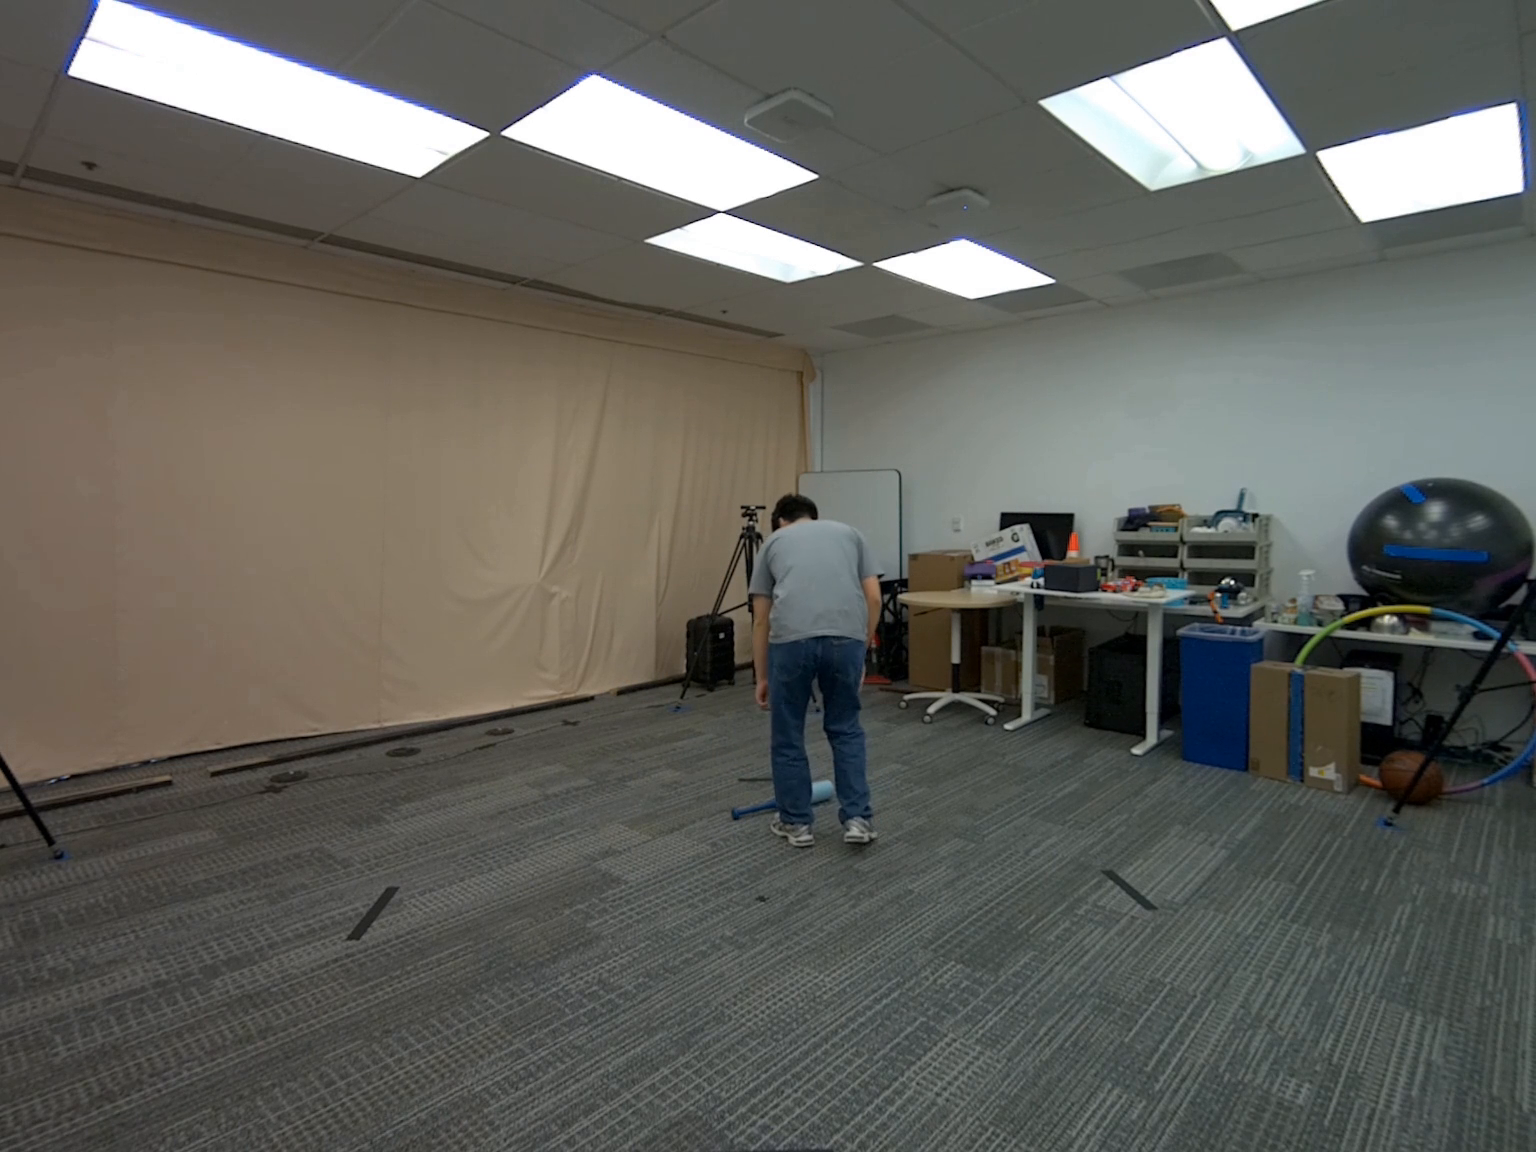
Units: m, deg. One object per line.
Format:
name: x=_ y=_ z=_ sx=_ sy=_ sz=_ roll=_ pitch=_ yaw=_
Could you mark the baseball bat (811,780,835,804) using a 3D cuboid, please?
baseball bat: x=0.075 y=1.035 z=3.864 sx=0.529 sy=0.089 sz=0.091 roll=-6 pitch=6 yaw=-29
